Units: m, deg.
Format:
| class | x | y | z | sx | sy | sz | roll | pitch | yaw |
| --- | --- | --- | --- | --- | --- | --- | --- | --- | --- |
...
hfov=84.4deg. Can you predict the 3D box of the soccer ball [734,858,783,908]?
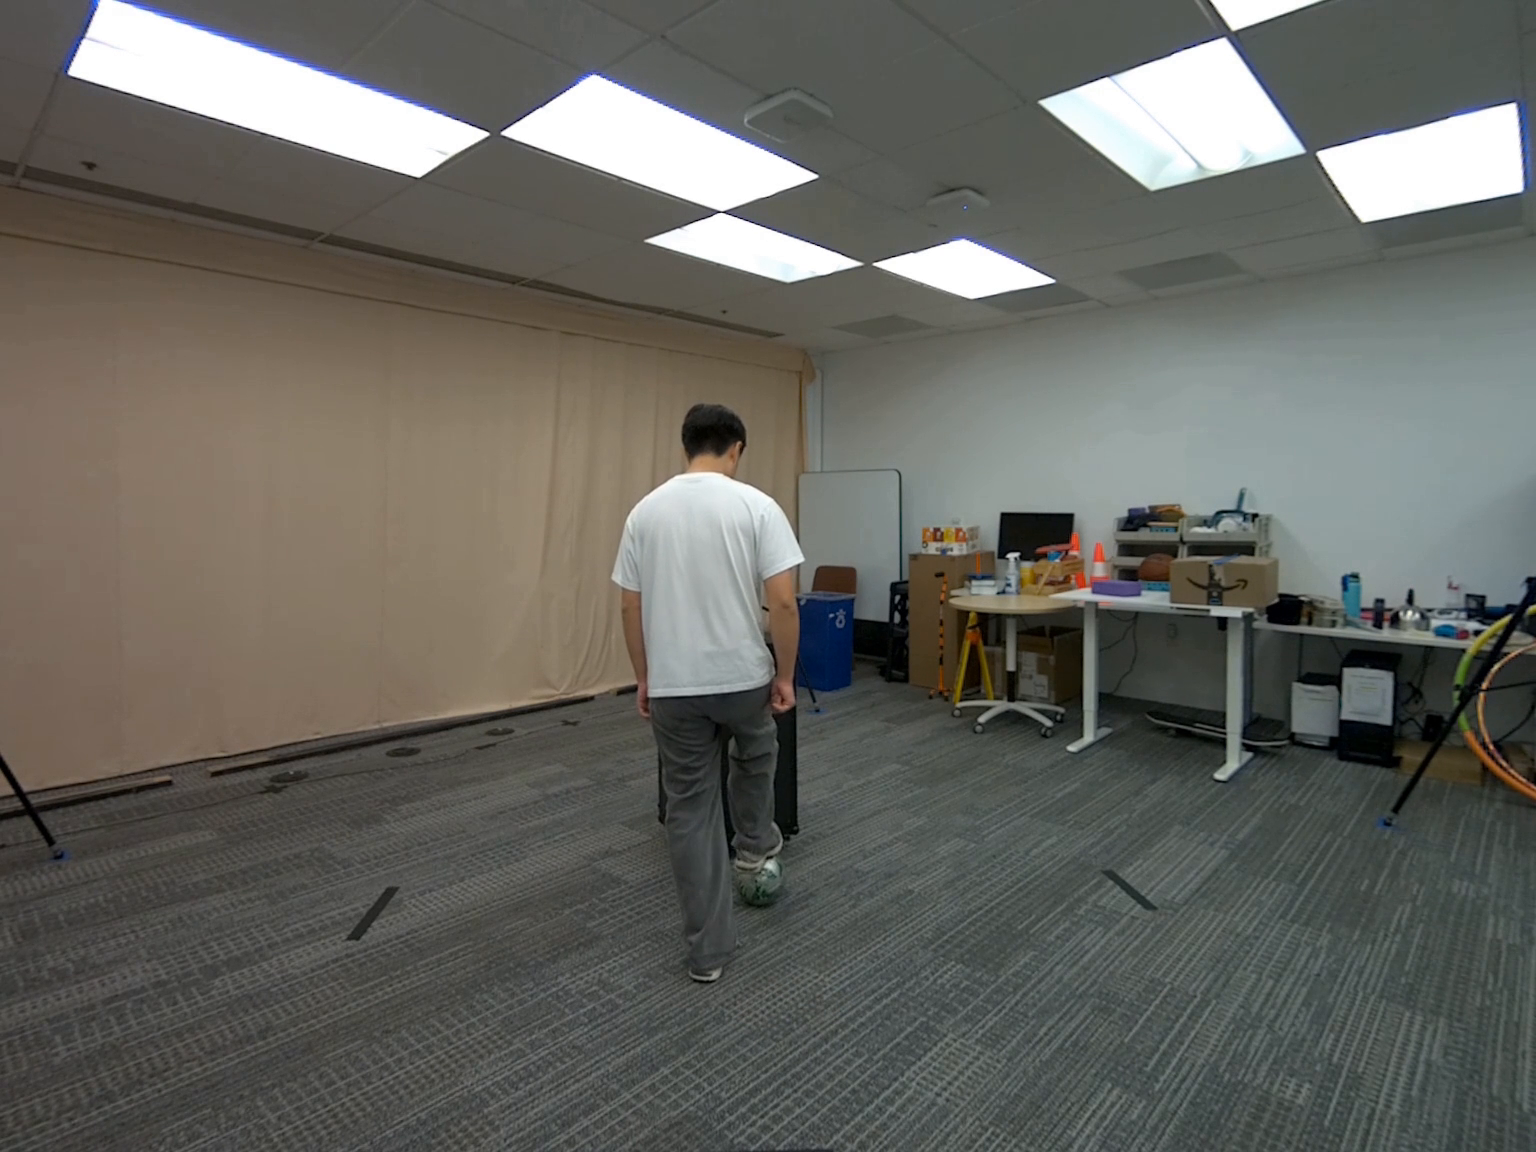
| class | x | y | z | sx | sy | sz | roll | pitch | yaw |
| --- | --- | --- | --- | --- | --- | --- | --- | --- | --- |
| soccer ball | -0.031 | 1.052 | 2.960 | 0.187 | 0.187 | 0.188 | 0 | 4 | -2 |
